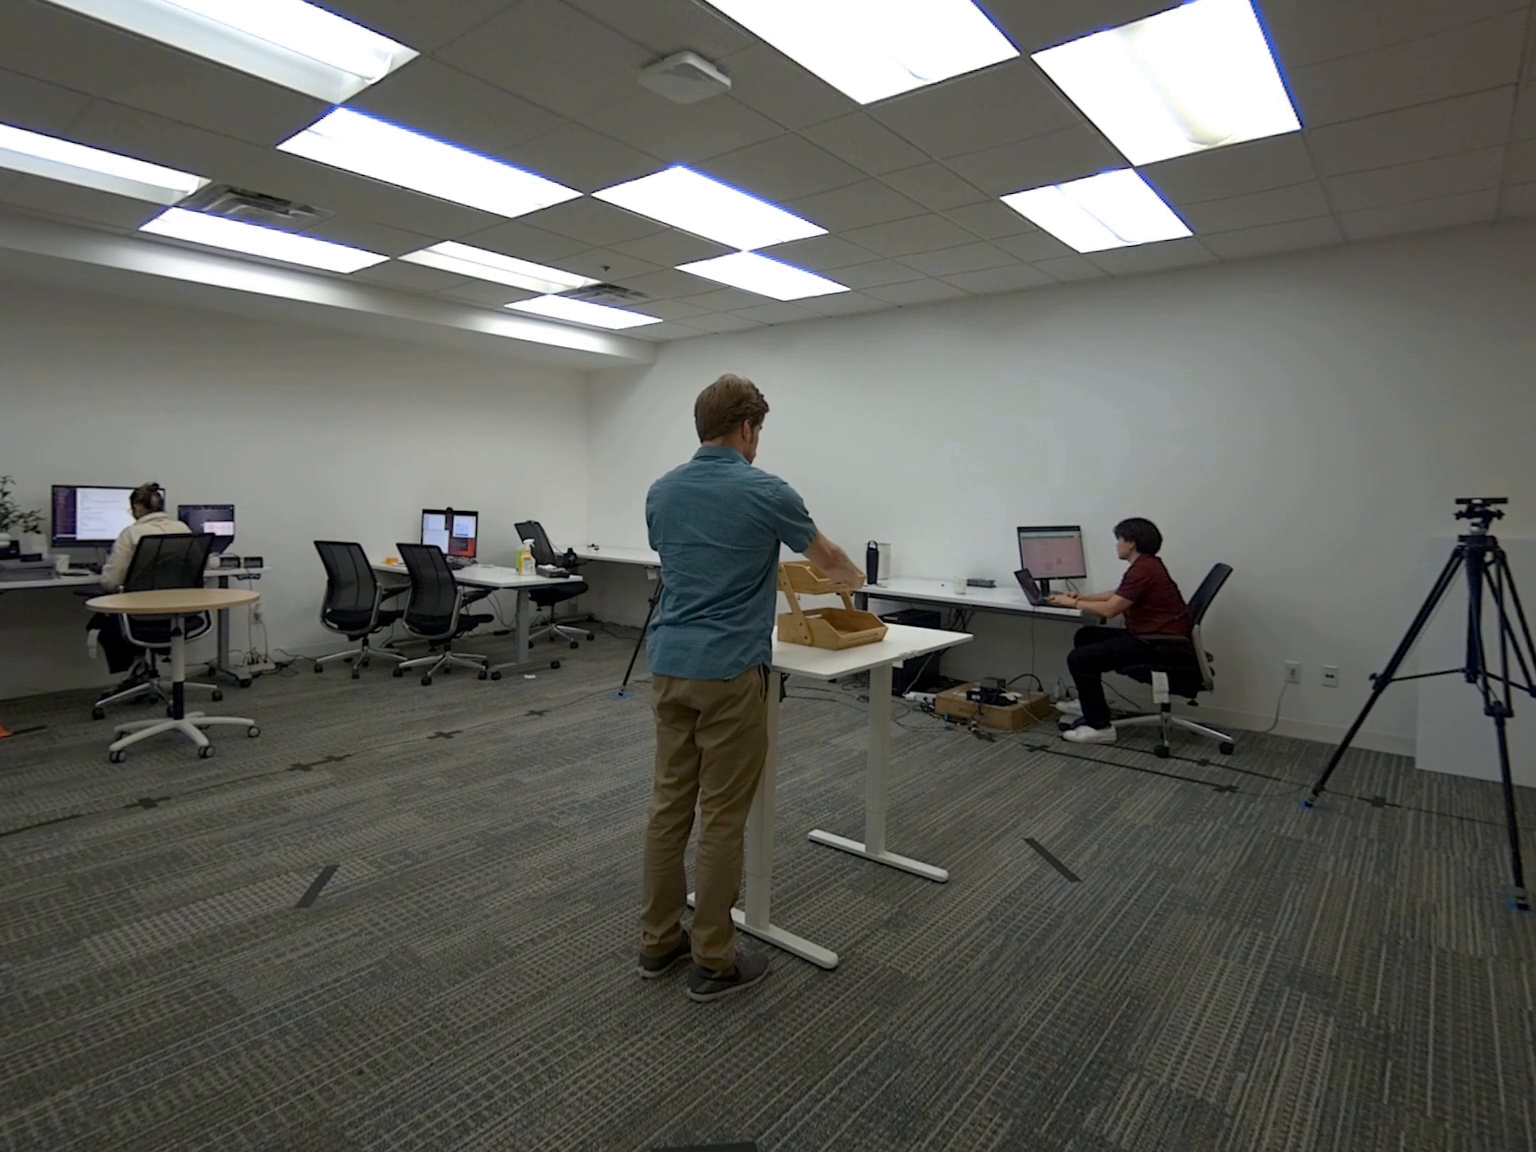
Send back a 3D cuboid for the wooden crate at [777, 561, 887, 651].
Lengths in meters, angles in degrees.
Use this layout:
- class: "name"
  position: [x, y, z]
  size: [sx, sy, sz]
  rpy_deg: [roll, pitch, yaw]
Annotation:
- class: "wooden crate"
  position: [0.199, 0.085, 2.896]
  size: [0.312, 0.272, 0.315]
  rpy_deg: [4, 5, 40]
